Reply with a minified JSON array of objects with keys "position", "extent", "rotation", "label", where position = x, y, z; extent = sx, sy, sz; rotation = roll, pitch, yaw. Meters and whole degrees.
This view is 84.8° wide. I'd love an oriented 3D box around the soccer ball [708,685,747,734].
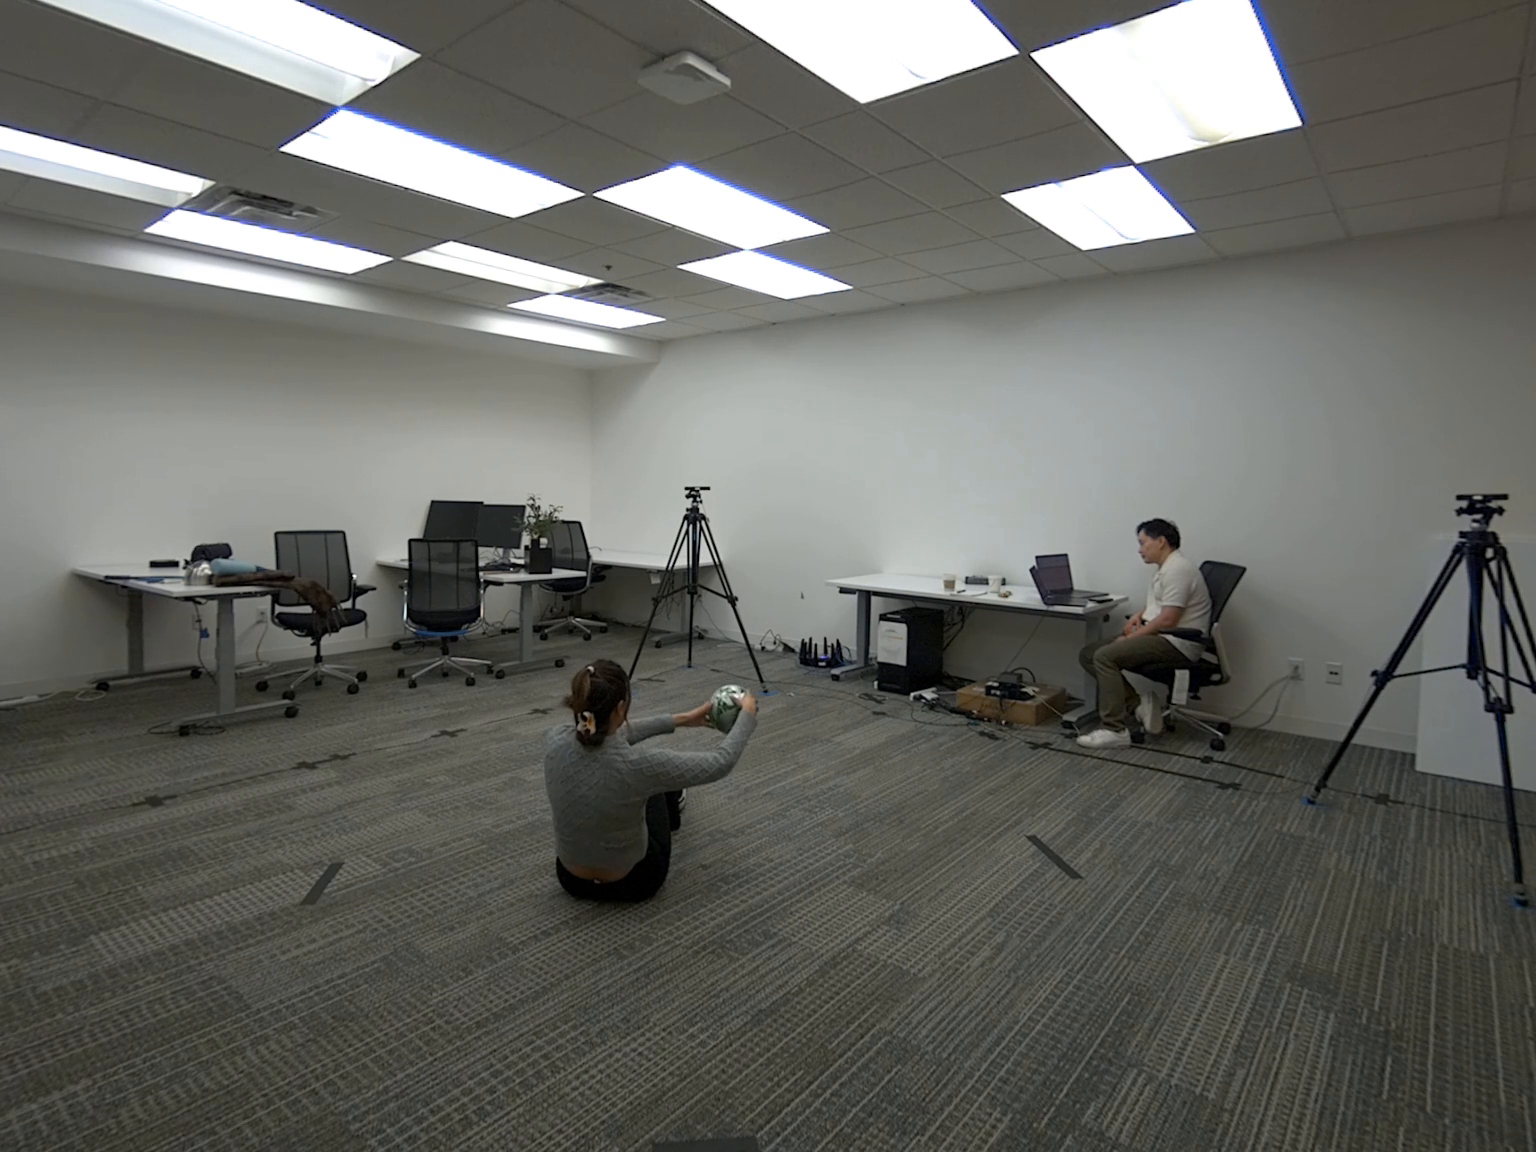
[{"position":[-0.153,0.508,3.238],"extent":[0.187,0.187,0.188],"rotation":[0,4,-2],"label":"soccer ball"}]
